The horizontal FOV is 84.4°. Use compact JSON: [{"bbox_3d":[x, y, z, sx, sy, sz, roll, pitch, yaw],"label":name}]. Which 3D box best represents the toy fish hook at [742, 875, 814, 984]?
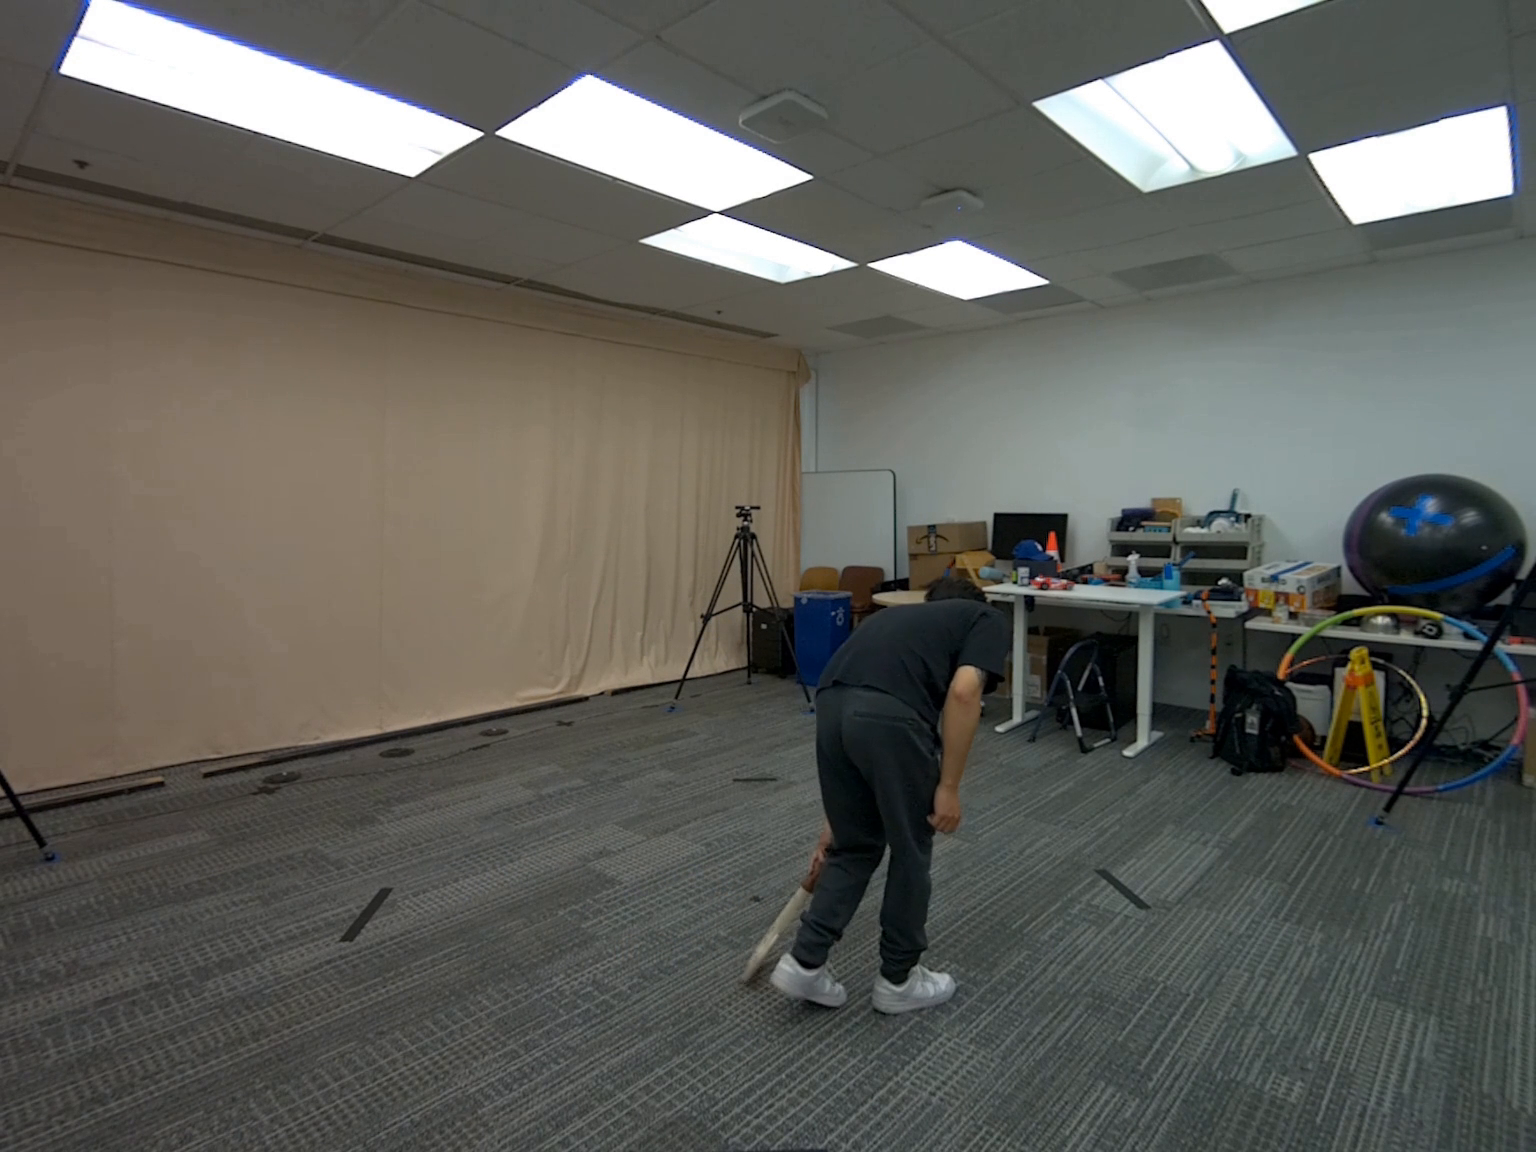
[{"bbox_3d":[0.080,0.980,2.460,0.049,0.507,0.222,34,4,6],"label":"toy fish hook"}]
